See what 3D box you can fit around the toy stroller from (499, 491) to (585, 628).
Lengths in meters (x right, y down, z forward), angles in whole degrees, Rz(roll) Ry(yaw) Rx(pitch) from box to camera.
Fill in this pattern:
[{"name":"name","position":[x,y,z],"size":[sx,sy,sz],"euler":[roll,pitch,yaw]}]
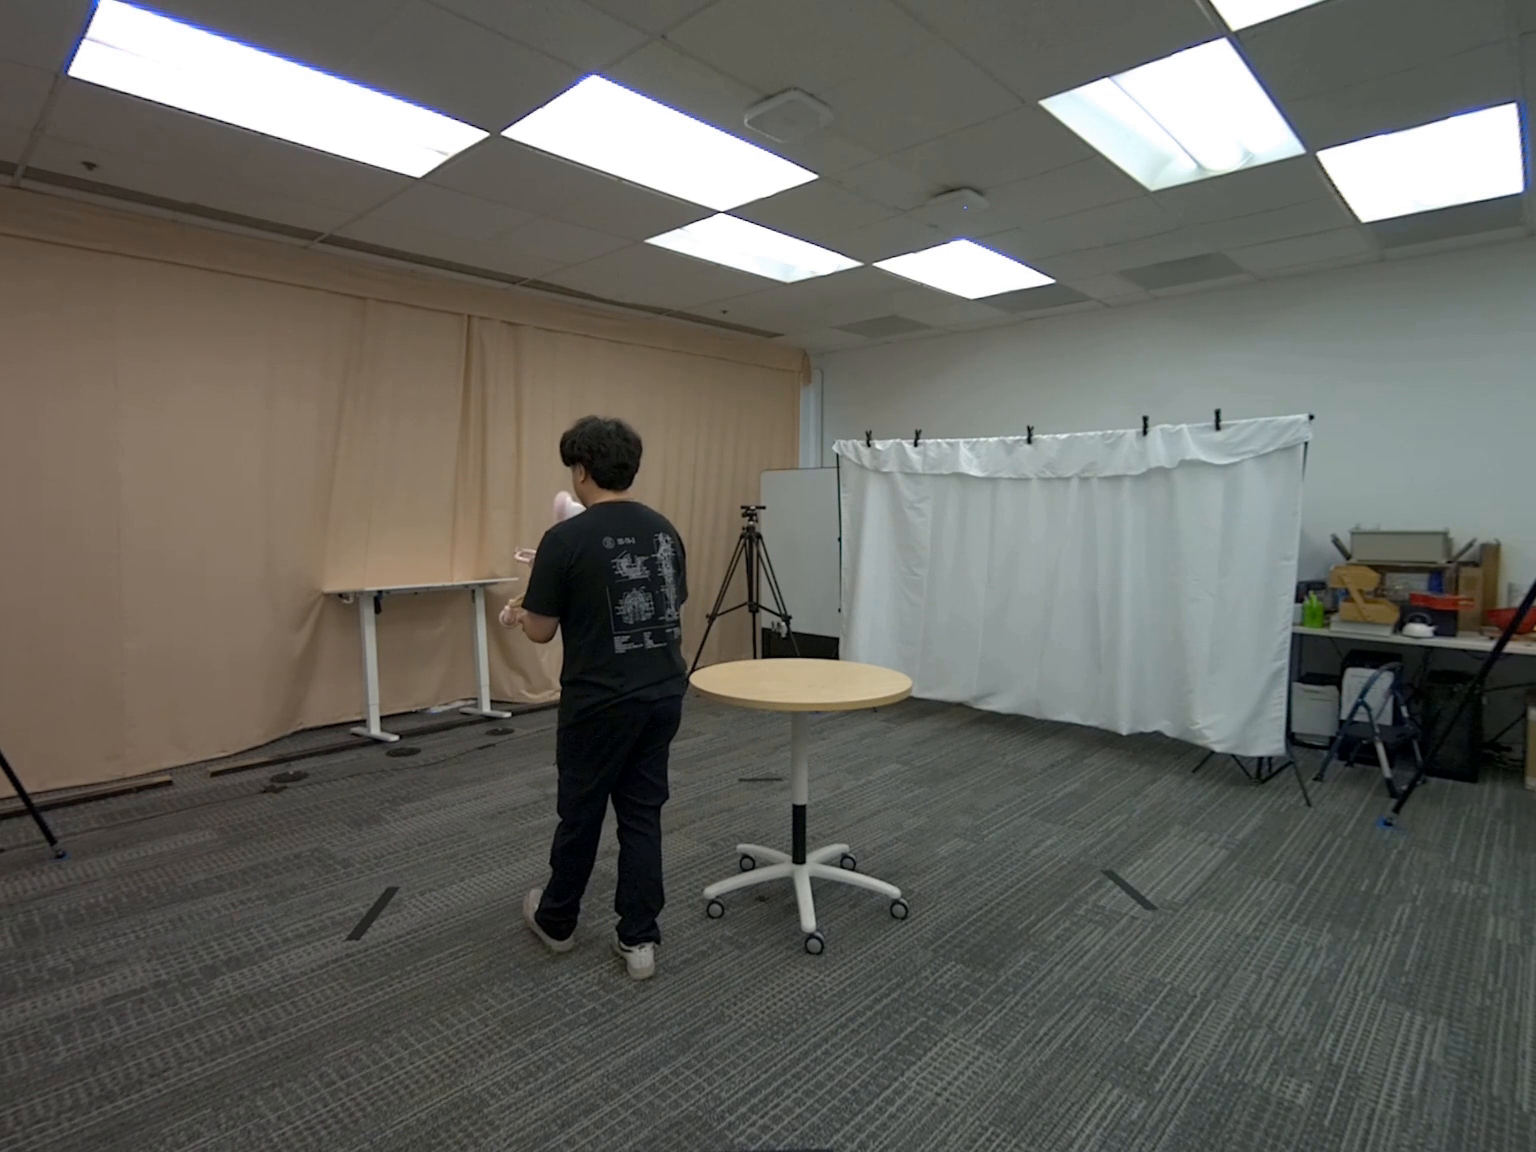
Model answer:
[{"name":"toy stroller","position":[-0.713,-0.044,2.890],"size":[0.340,0.533,0.283],"euler":[14,7,-4]}]
